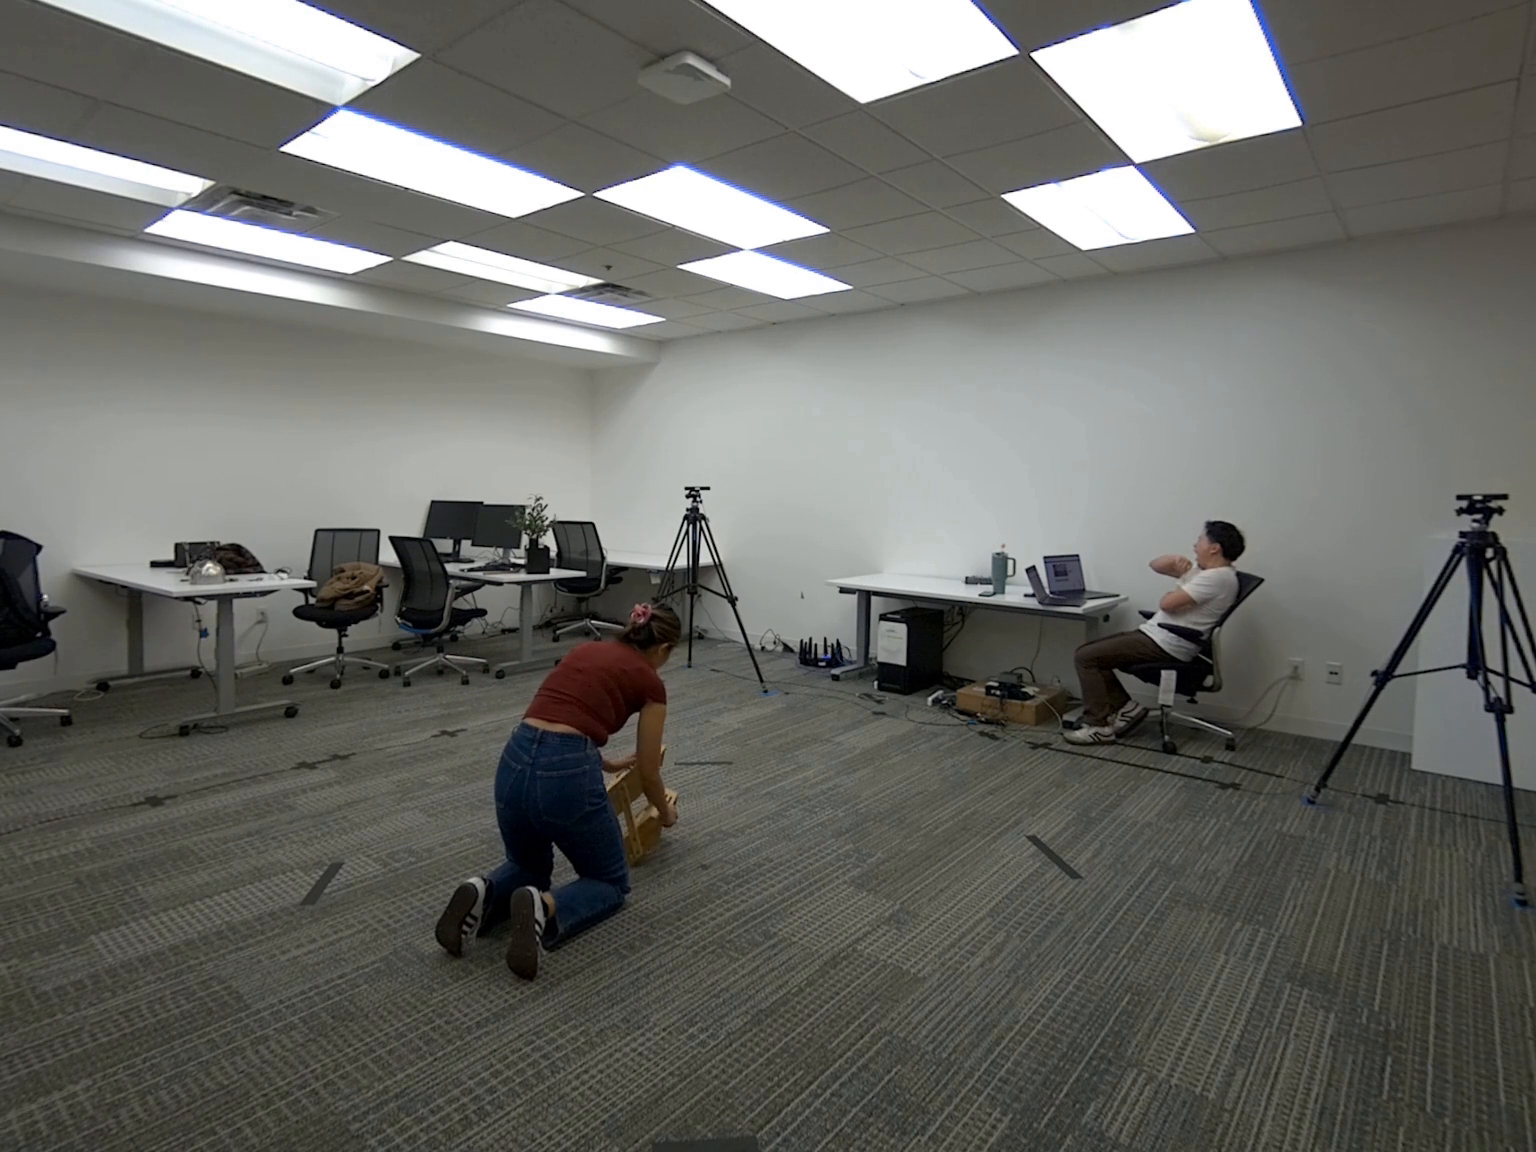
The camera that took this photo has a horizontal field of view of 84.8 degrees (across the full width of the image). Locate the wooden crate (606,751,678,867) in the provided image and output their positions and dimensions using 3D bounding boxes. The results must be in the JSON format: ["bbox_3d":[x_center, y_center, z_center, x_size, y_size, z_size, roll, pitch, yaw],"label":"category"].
[{"bbox_3d":[-0.478,0.858,3.251,0.302,0.274,0.324,-43,0,7],"label":"wooden crate"}]
